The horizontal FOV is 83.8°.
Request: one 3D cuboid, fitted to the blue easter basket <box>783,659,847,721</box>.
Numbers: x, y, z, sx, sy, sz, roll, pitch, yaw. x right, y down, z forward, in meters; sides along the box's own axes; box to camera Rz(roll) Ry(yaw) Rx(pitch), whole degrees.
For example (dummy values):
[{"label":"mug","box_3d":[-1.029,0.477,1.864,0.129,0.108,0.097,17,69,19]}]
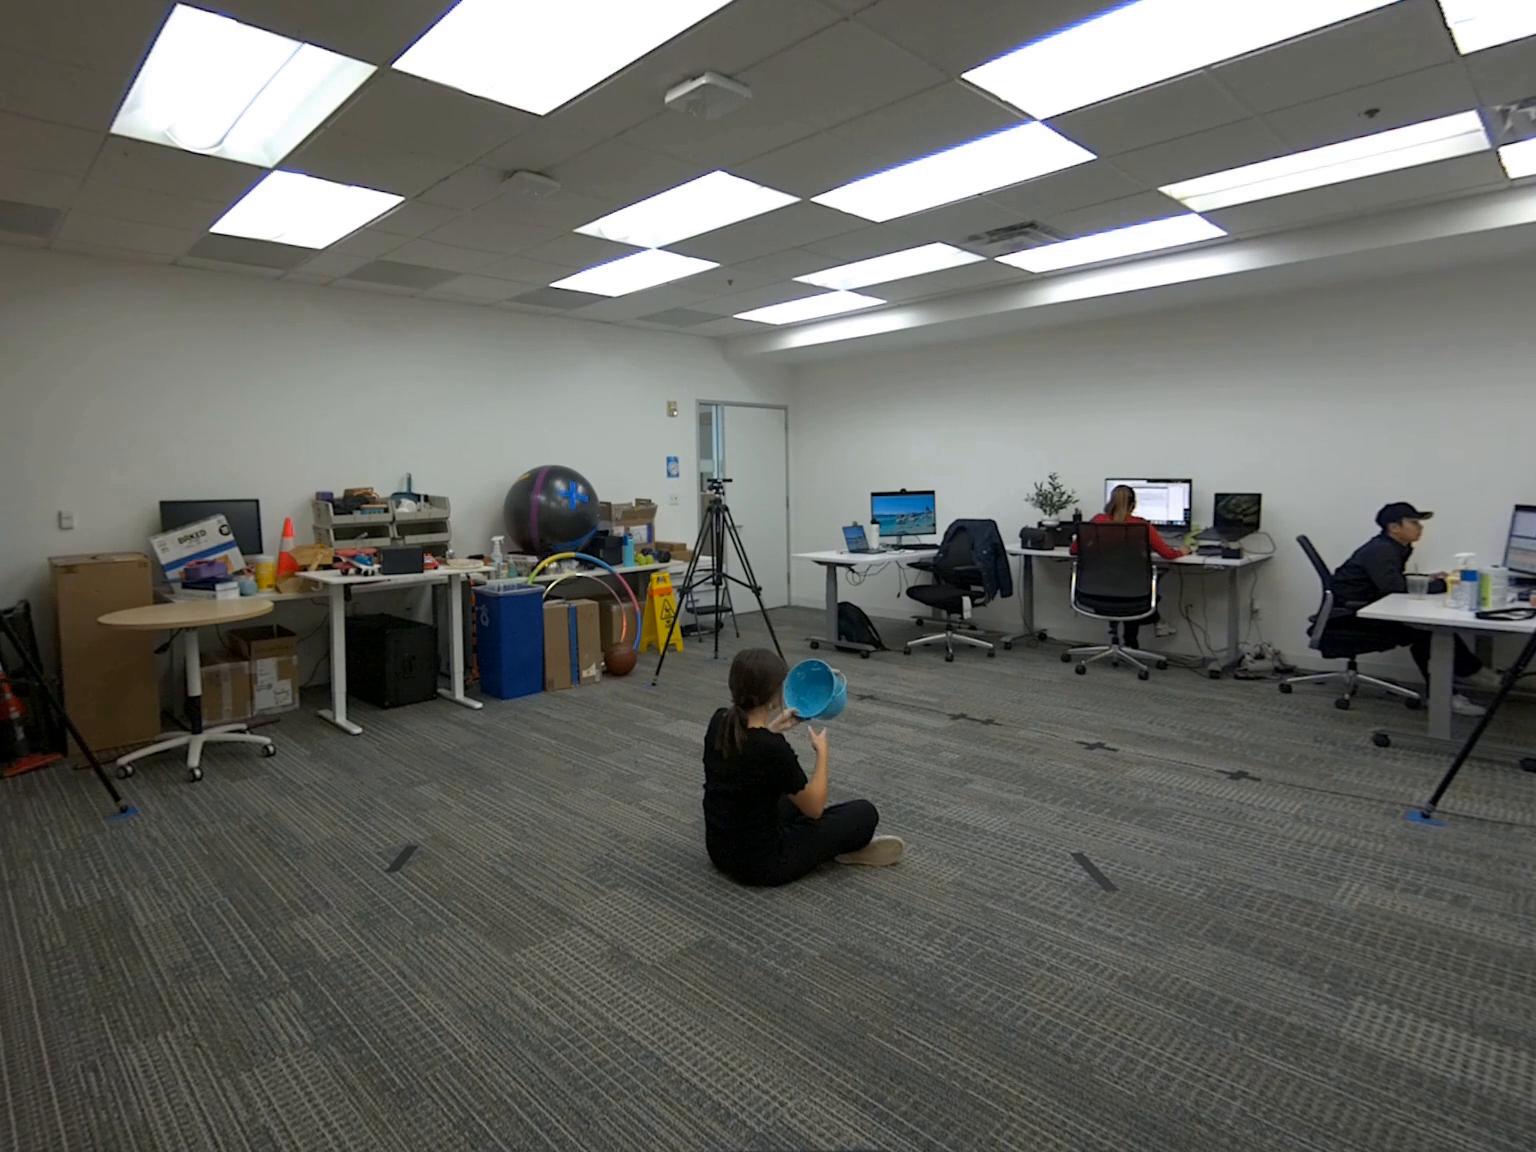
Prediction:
[{"label":"blue easter basket","box_3d":[0.198,0.469,3.413,0.251,0.246,0.150,3,-21,37]}]
